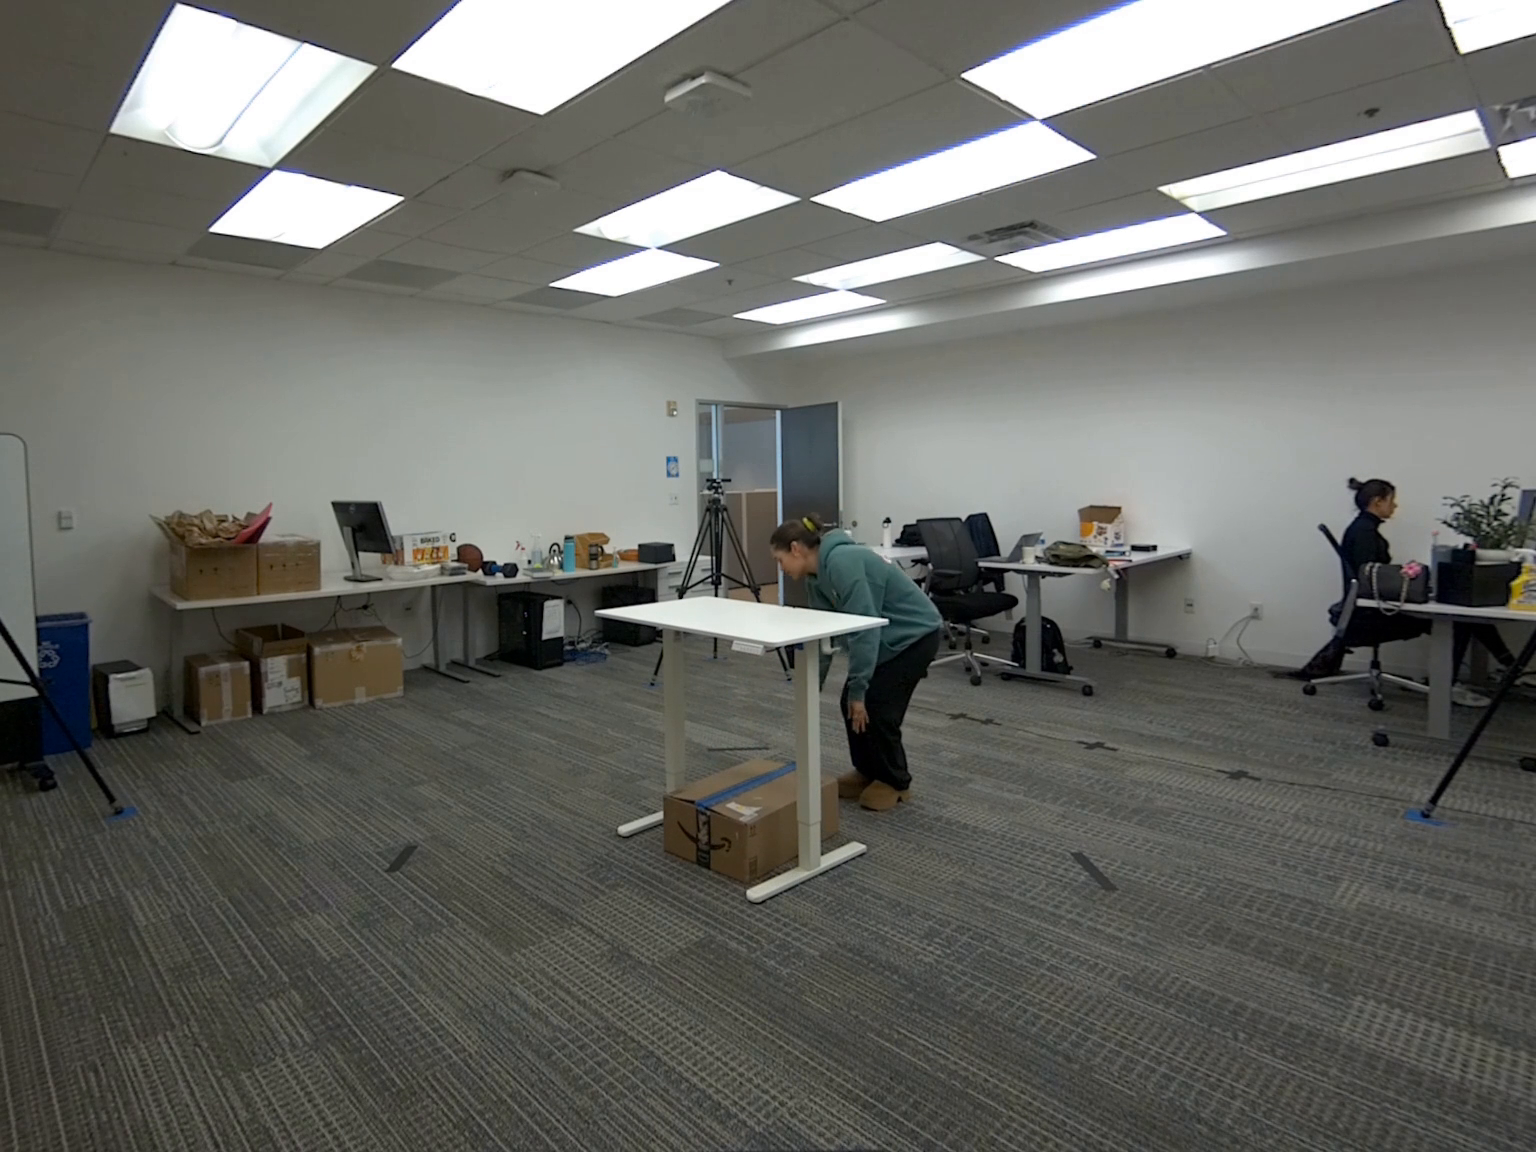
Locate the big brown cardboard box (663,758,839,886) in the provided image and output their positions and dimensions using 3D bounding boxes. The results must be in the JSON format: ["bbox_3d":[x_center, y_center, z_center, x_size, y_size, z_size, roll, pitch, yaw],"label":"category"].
[{"bbox_3d":[-0.062,0.908,3.275,0.430,0.232,0.574,4,7,40],"label":"big brown cardboard box"}]
